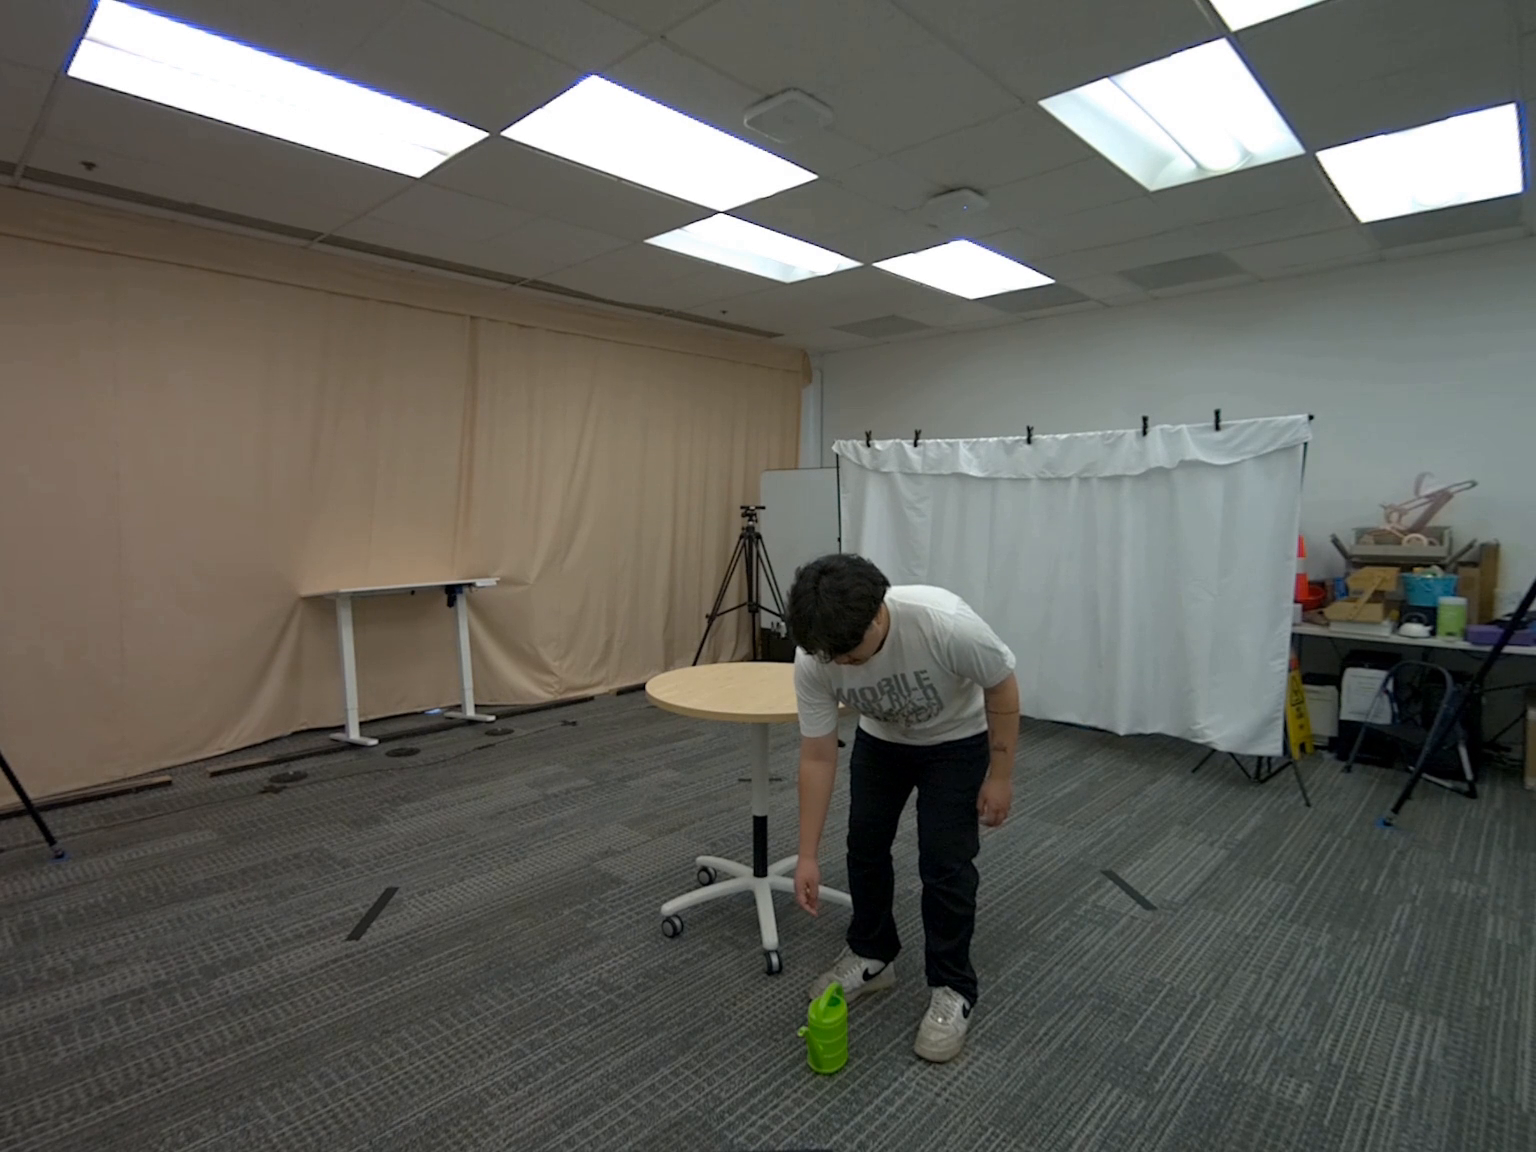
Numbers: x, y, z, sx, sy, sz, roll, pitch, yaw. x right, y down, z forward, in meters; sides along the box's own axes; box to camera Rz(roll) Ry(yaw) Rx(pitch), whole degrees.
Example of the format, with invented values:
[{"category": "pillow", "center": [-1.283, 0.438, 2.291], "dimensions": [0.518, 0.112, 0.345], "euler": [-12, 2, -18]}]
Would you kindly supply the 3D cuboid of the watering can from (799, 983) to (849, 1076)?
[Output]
[{"category": "watering can", "center": [0.130, 1.140, 2.064], "dimensions": [0.101, 0.176, 0.270], "euler": [2, 3, 36]}]
